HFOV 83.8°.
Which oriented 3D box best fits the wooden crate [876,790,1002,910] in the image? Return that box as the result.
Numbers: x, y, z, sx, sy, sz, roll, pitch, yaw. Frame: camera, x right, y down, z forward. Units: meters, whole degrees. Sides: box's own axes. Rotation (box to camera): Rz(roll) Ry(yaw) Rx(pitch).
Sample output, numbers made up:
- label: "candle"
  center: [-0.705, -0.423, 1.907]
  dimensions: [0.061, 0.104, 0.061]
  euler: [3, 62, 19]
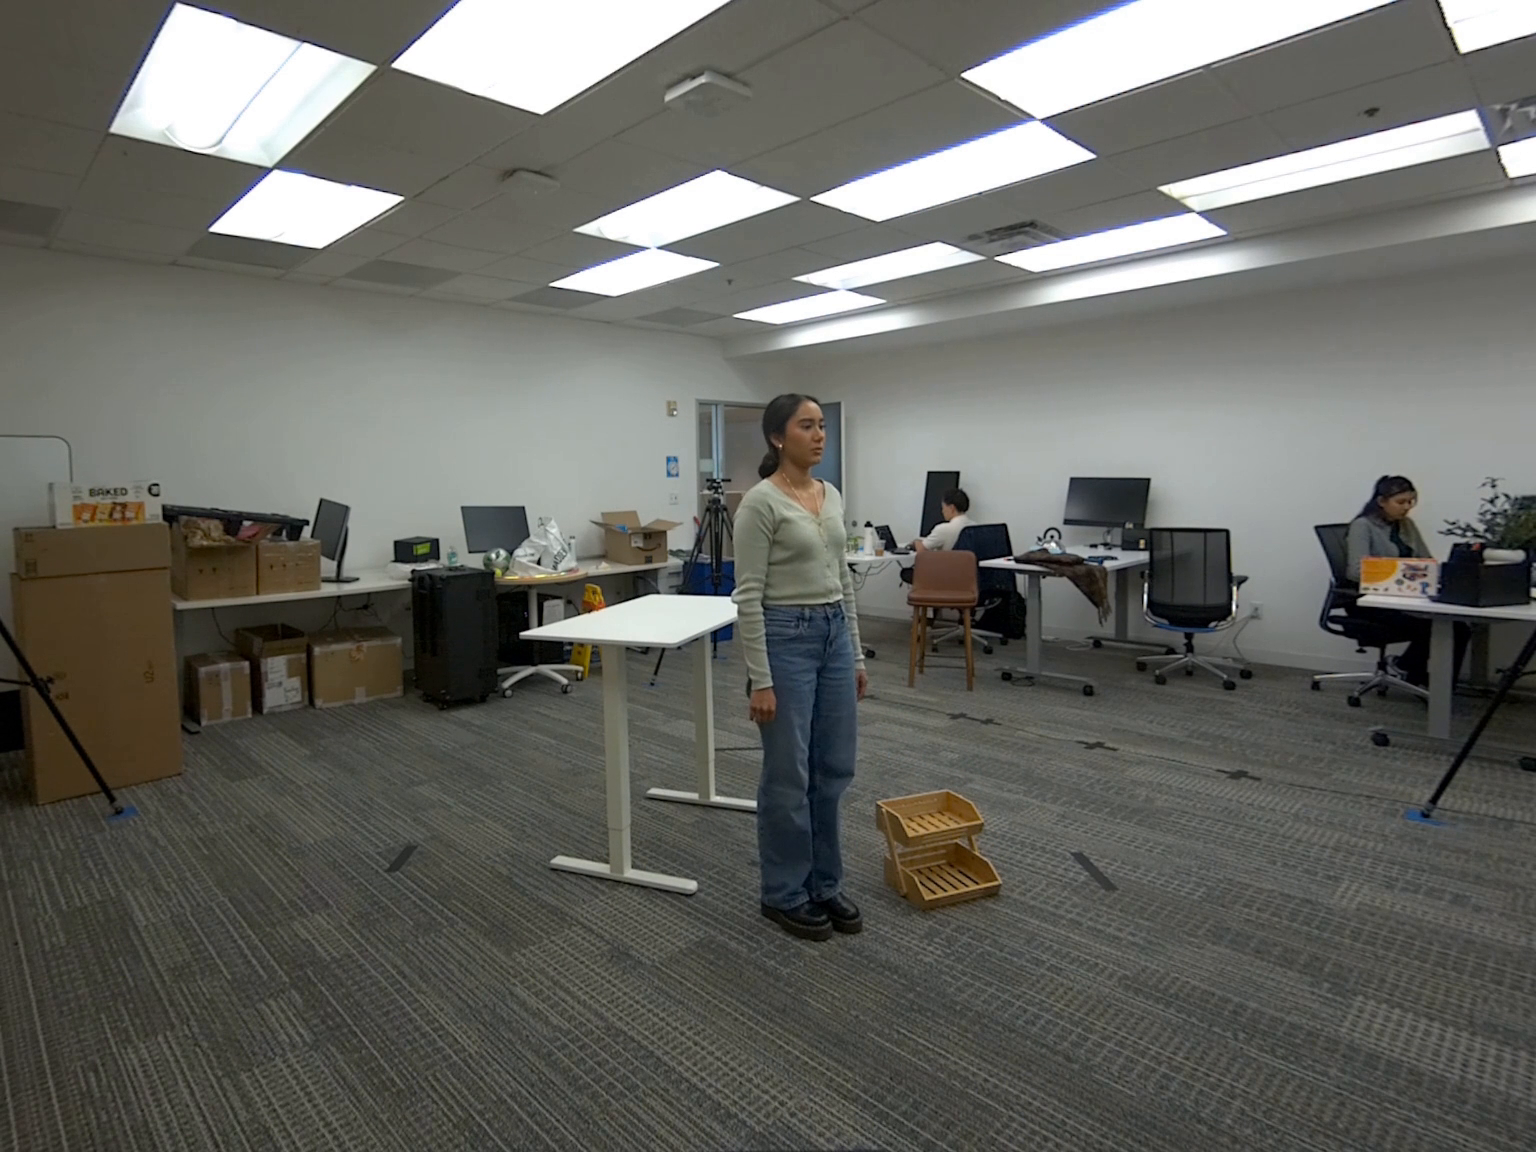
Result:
- label: "wooden crate"
  center: [0.585, 0.923, 2.904]
  dimensions: [0.318, 0.272, 0.309]
  euler: [-3, 5, -22]
